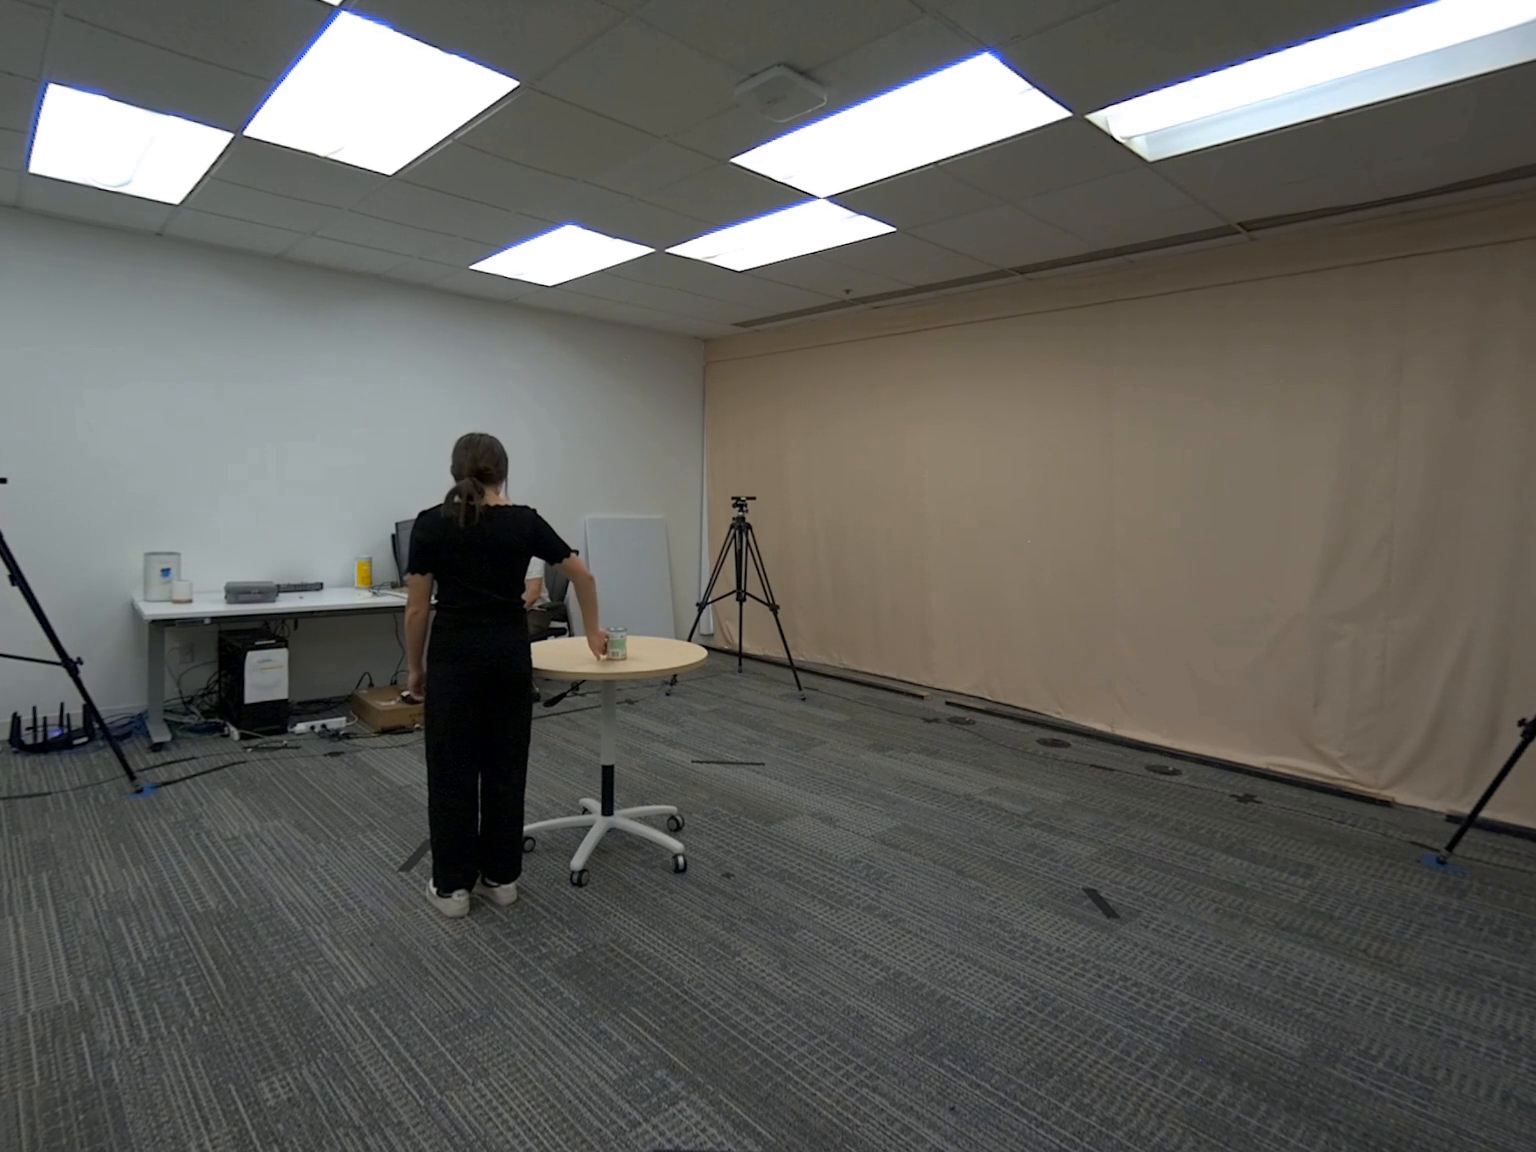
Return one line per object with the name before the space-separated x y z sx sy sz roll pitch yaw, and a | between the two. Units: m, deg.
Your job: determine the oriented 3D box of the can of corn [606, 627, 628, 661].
can of corn | -0.581 0.255 3.126 0.074 0.111 0.074 -2 3 -1
